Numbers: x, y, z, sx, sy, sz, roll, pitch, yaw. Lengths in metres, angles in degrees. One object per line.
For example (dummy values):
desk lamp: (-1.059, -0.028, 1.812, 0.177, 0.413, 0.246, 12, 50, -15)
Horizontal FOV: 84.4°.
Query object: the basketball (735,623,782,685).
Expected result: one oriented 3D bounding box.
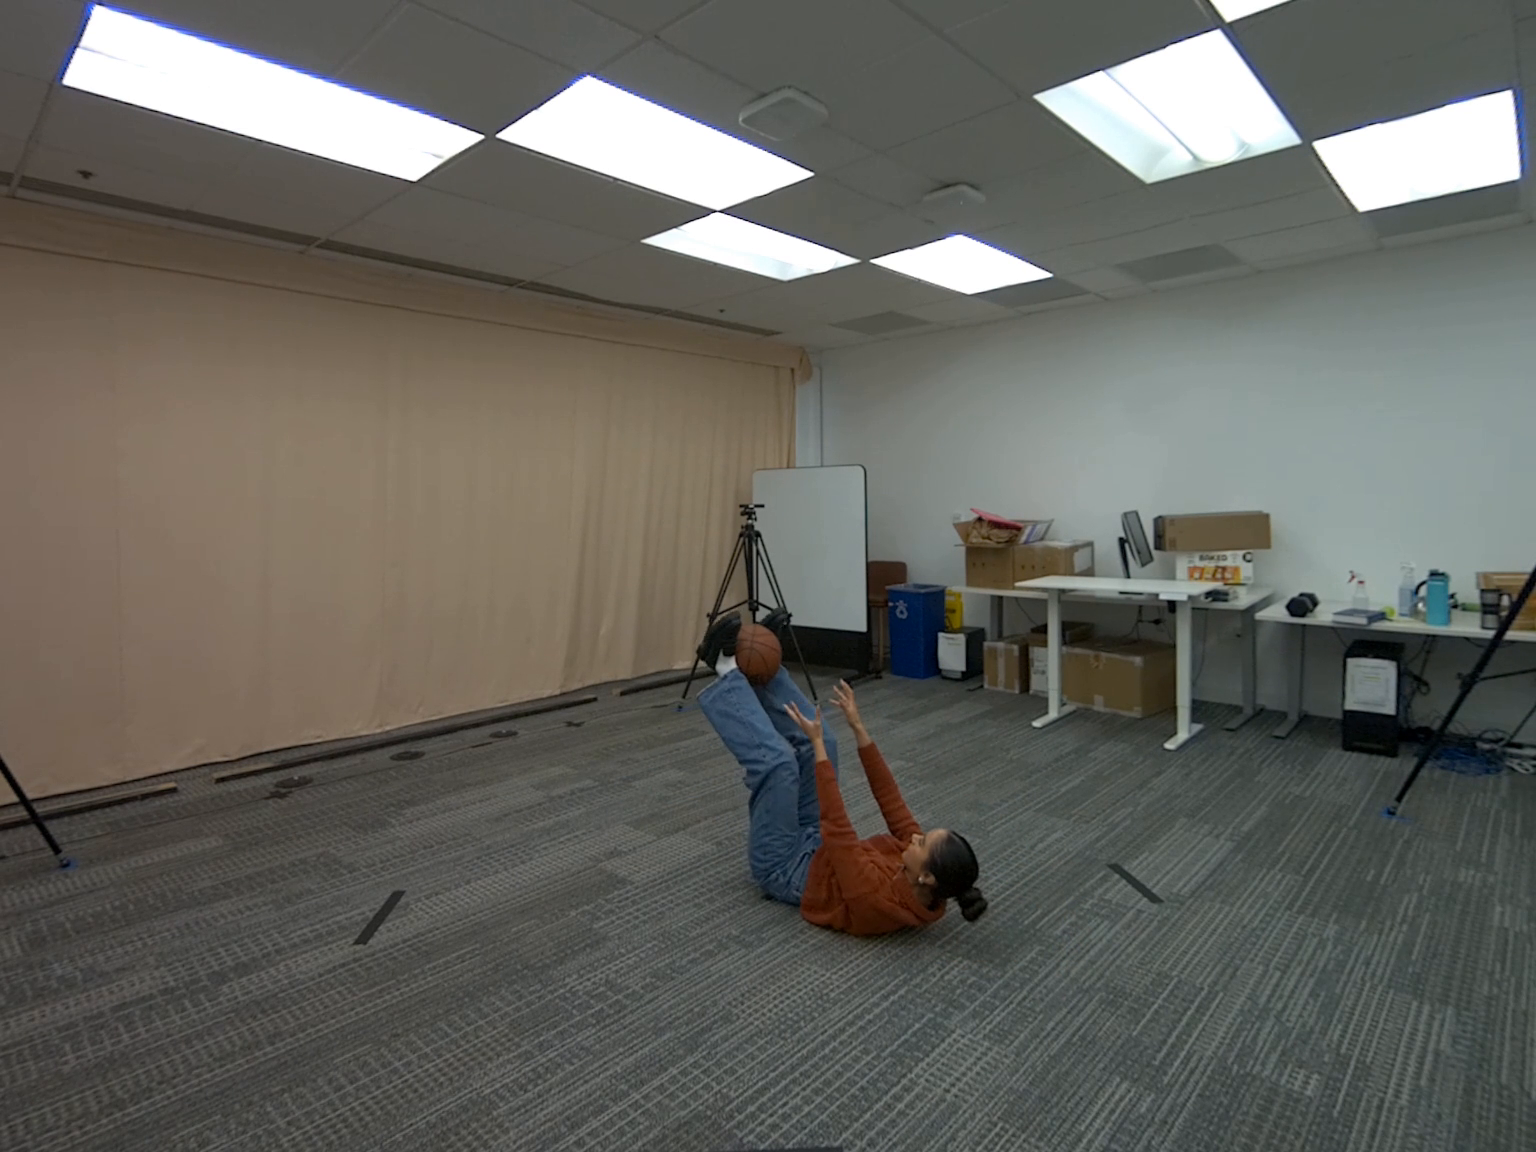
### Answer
basketball: (-0.065, 0.301, 3.159, 0.235, 0.235, 0.237, 2, 5, -2)
